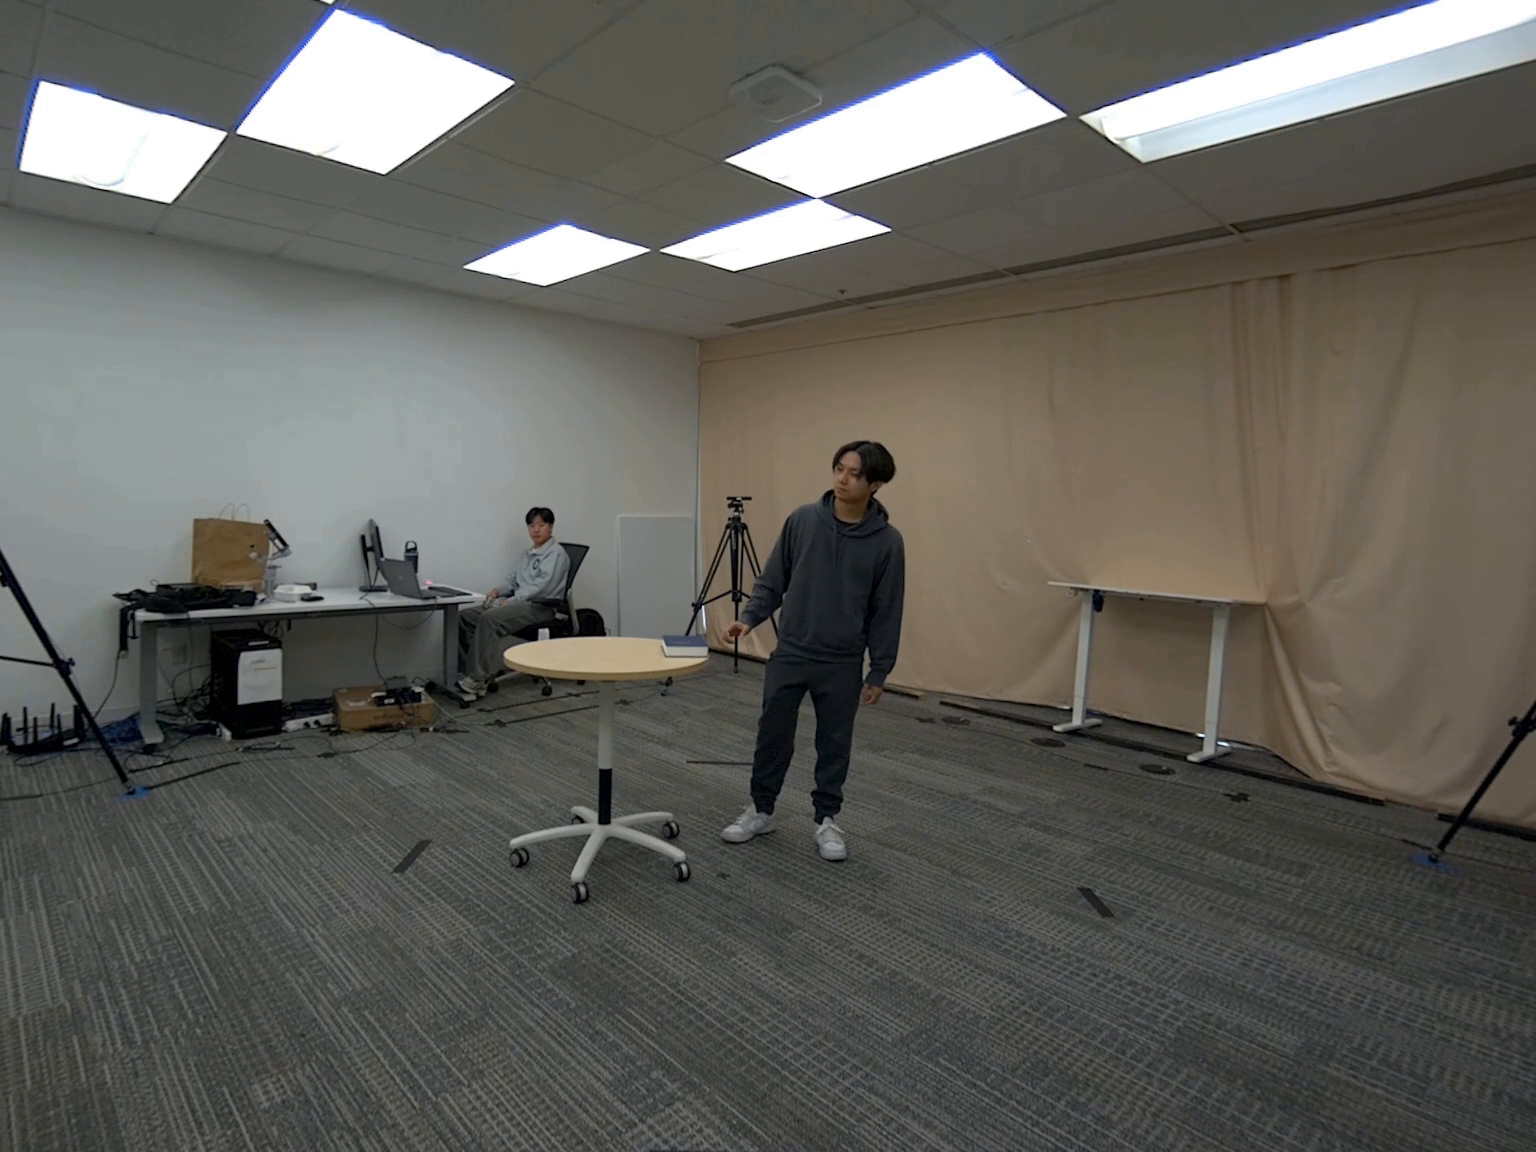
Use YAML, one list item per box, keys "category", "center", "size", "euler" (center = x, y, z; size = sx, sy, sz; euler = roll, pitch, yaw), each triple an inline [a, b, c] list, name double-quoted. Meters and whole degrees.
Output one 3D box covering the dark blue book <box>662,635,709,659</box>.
- category: "dark blue book"
  center: [-0.335, 0.272, 3.264]
  size: [0.162, 0.045, 0.247]
  euler: [1, 5, -10]
